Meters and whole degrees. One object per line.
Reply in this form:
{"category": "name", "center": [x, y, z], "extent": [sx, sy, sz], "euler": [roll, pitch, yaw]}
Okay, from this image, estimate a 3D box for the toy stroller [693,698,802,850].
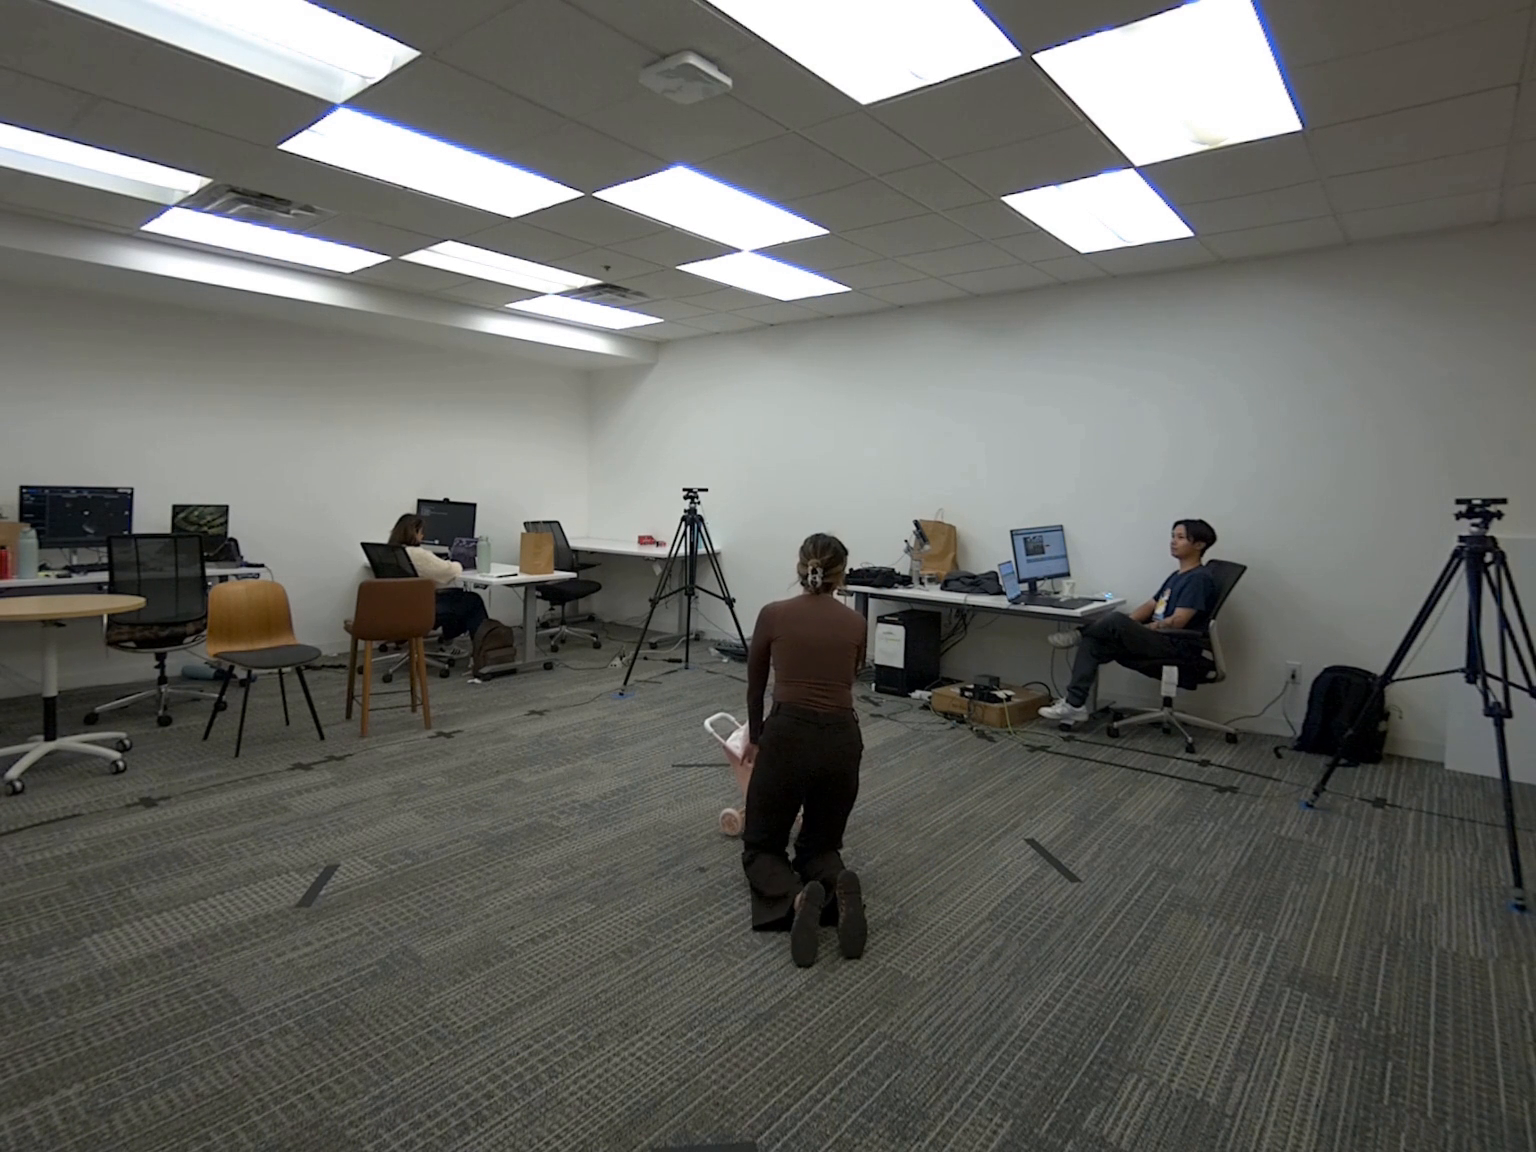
{"category": "toy stroller", "center": [-0.040, 0.806, 3.477], "extent": [0.348, 0.538, 0.274], "euler": [-14, -5, 32]}
